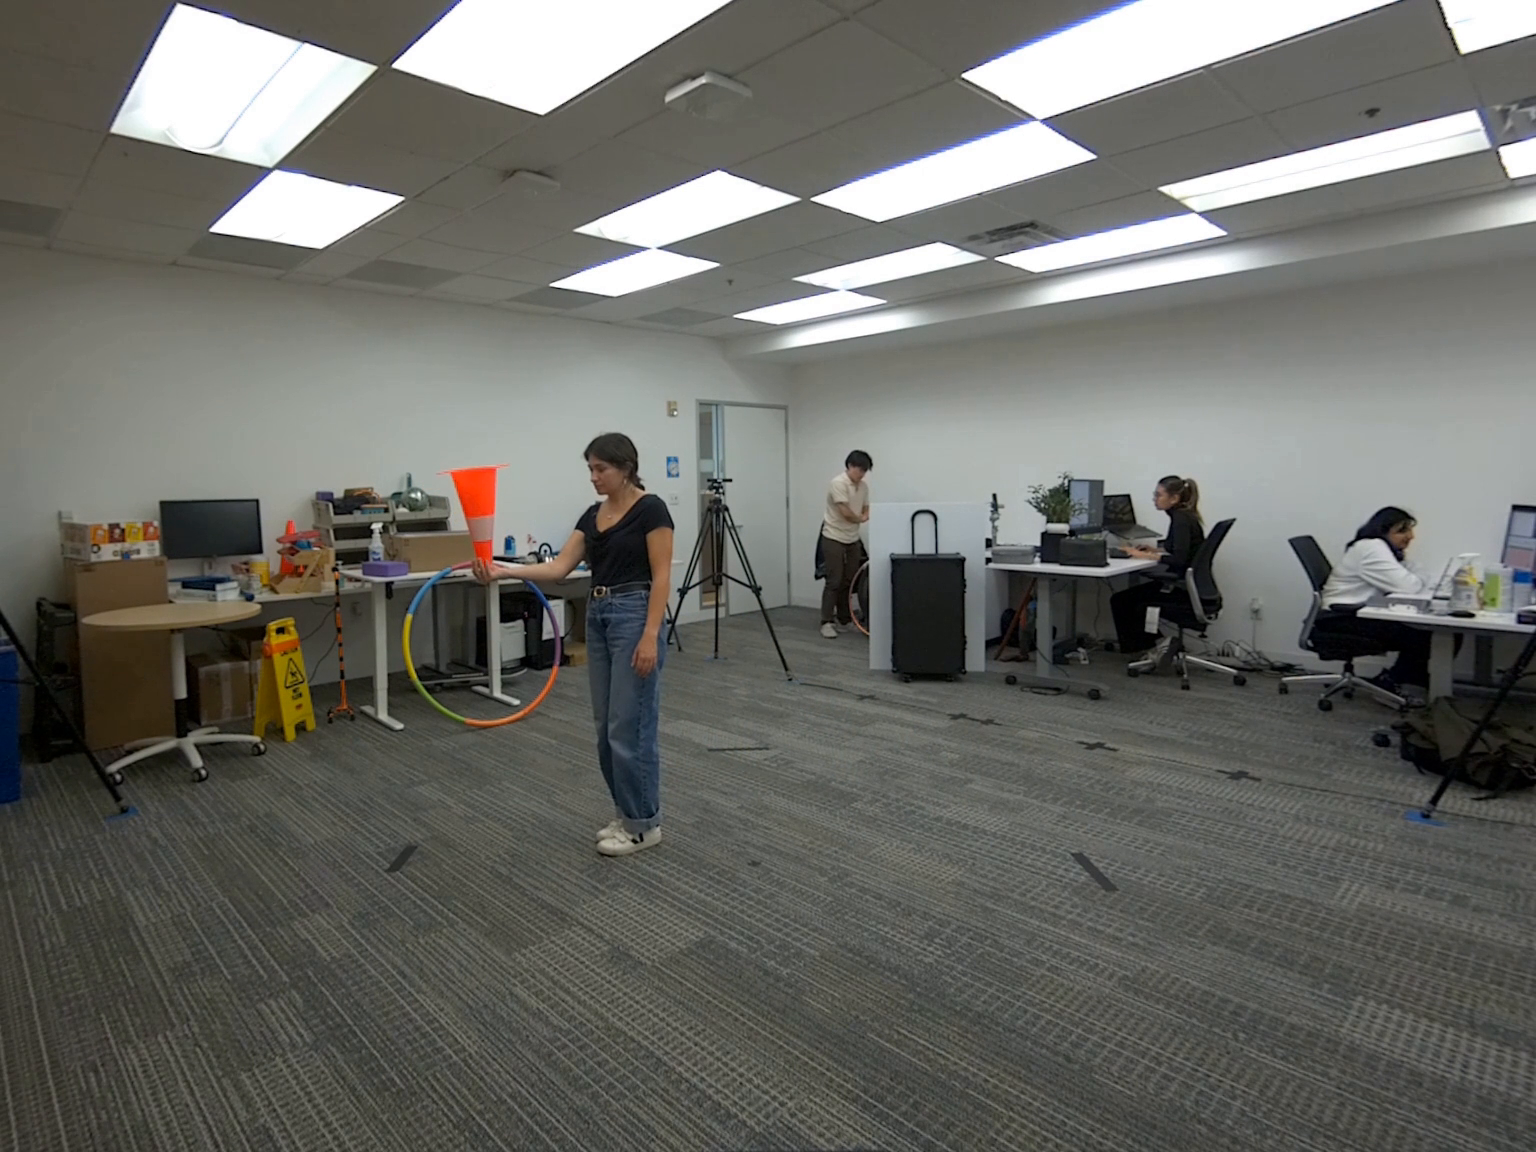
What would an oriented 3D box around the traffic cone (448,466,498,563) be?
[{"bbox_3d":[-1.029,-0.192,3.055,0.207,0.381,0.203,-7,8,11],"label":"traffic cone"}]
